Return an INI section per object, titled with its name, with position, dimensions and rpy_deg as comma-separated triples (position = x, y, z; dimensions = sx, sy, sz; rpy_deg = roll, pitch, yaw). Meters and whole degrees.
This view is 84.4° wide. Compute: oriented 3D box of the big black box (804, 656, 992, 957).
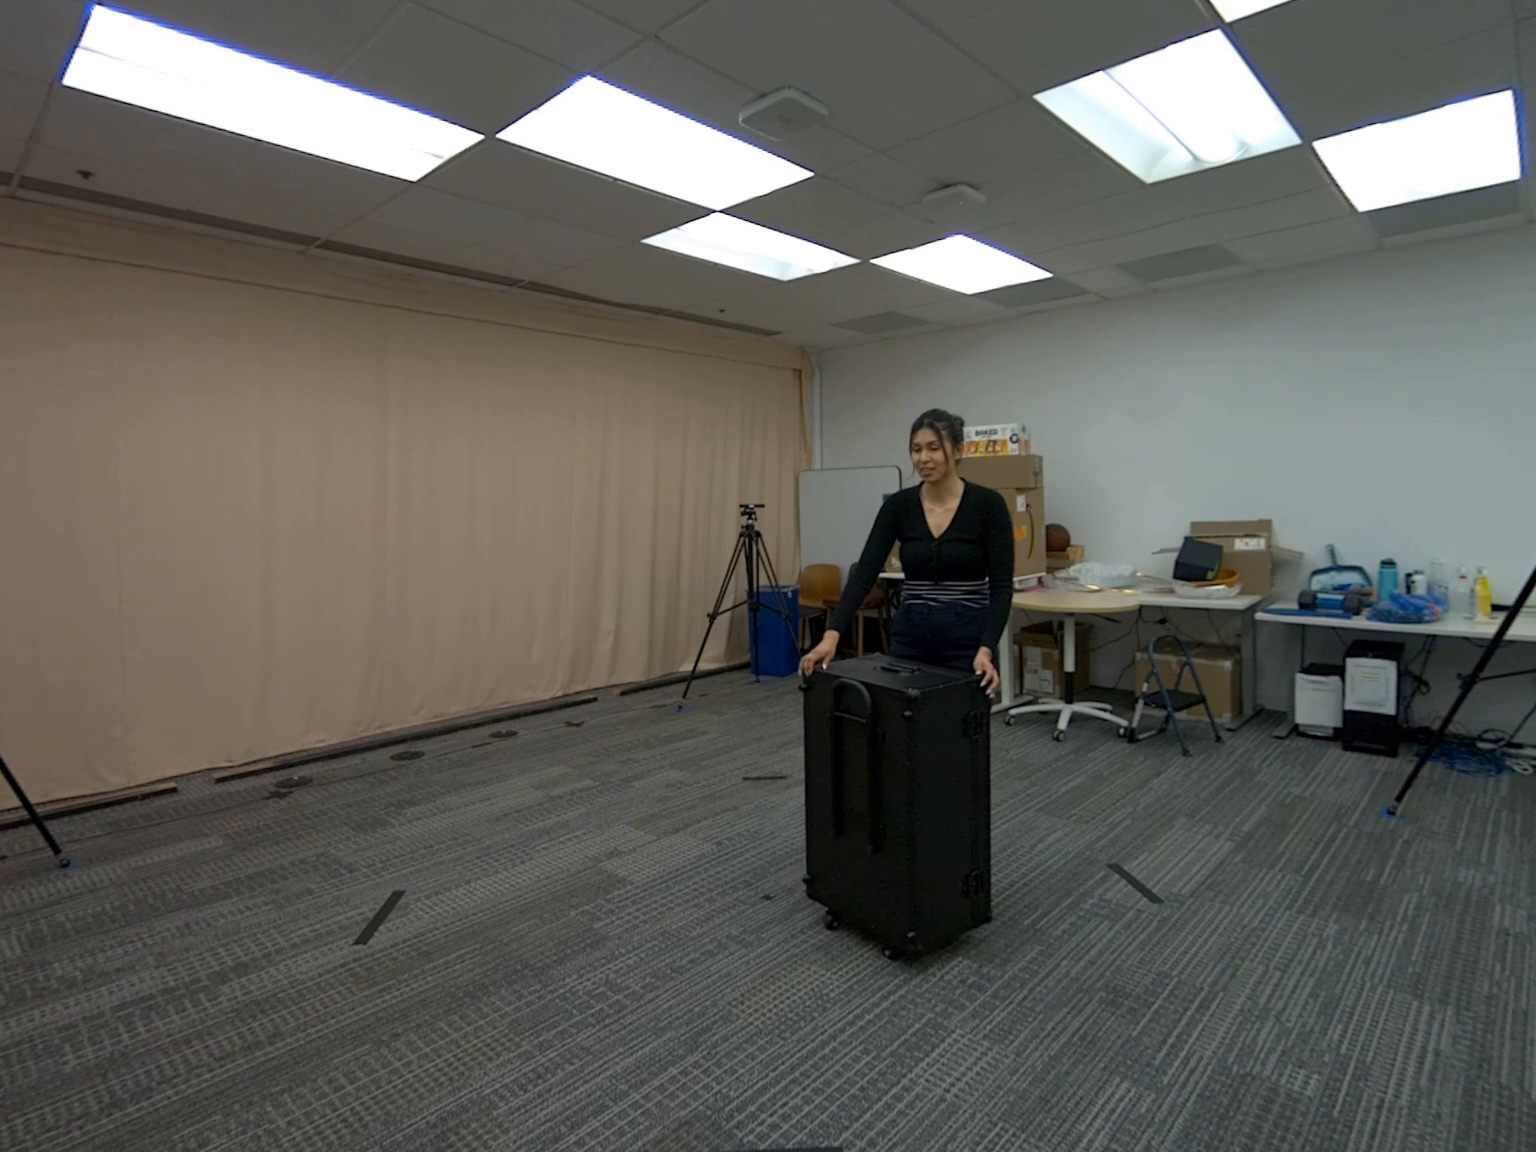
[big black box]
position = 0.410, 0.732, 2.708
dimensions = 0.385, 0.859, 0.538
rpy_deg = -4, 5, -36
